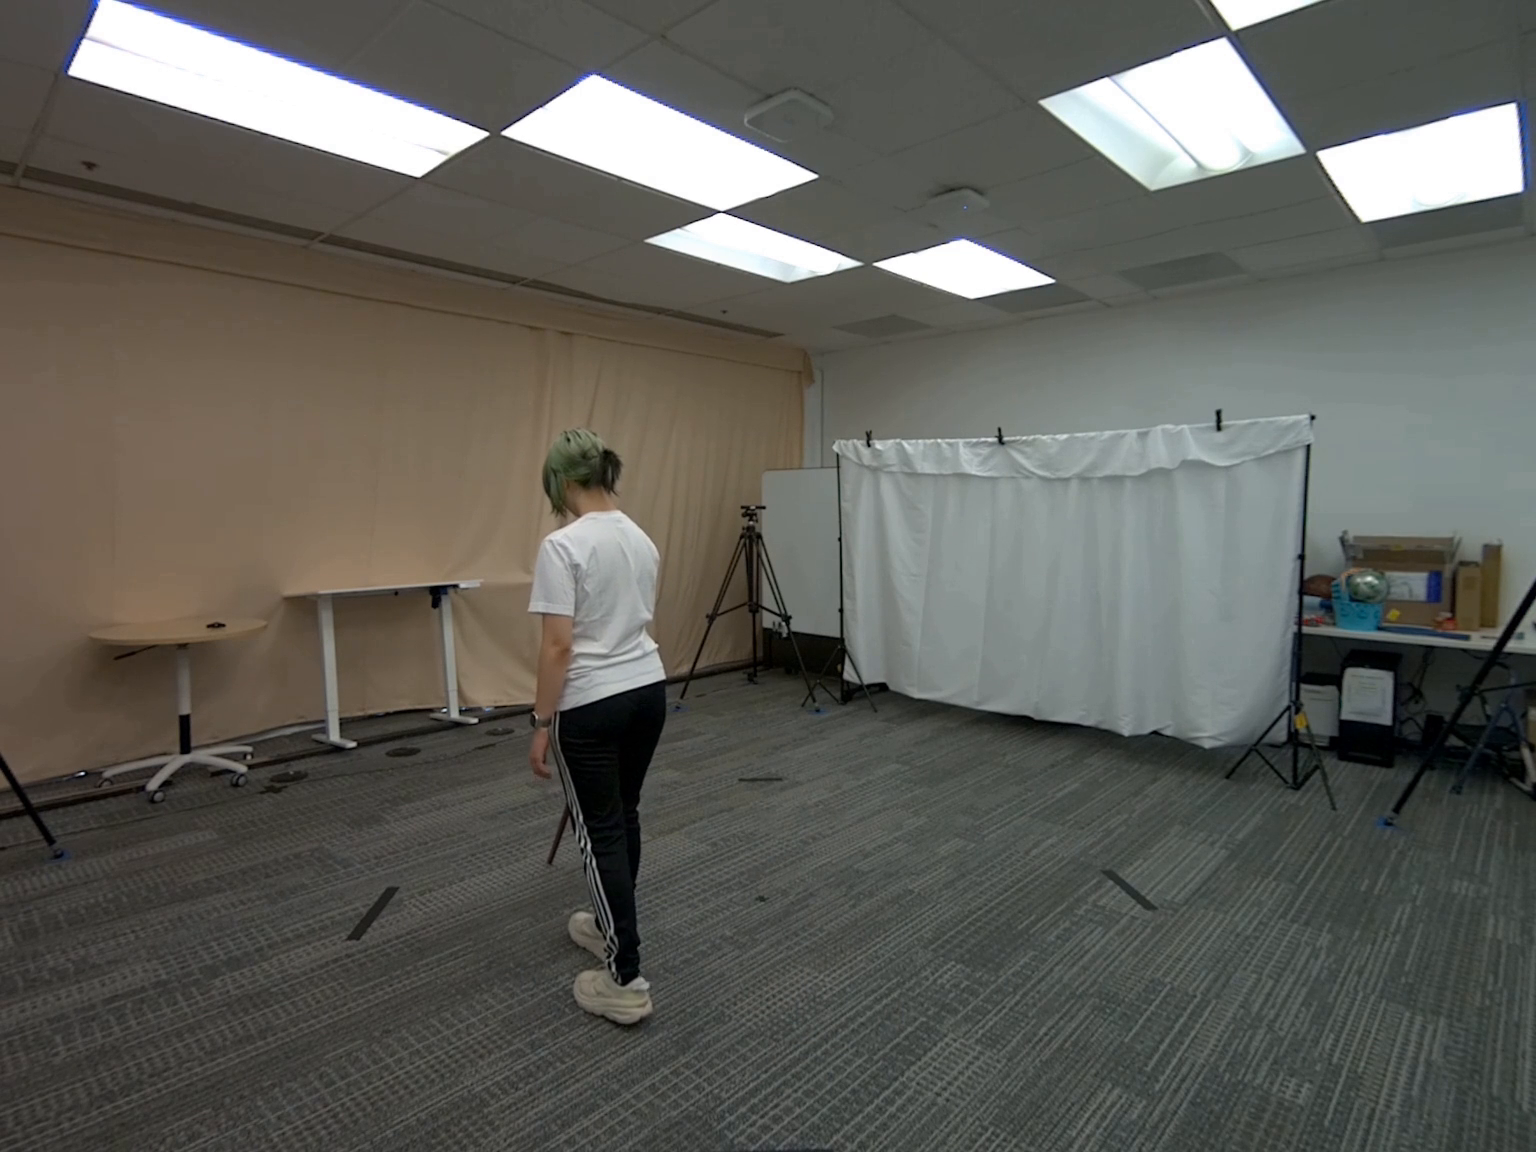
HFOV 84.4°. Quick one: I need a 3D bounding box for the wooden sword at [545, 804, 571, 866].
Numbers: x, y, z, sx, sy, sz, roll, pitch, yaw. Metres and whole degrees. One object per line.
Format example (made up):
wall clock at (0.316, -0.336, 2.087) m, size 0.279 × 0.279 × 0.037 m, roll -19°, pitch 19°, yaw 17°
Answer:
wooden sword at (-0.708, 0.790, 2.970) m, size 0.050 × 1.022 × 0.025 m, roll -13°, pitch 54°, yaw -37°
